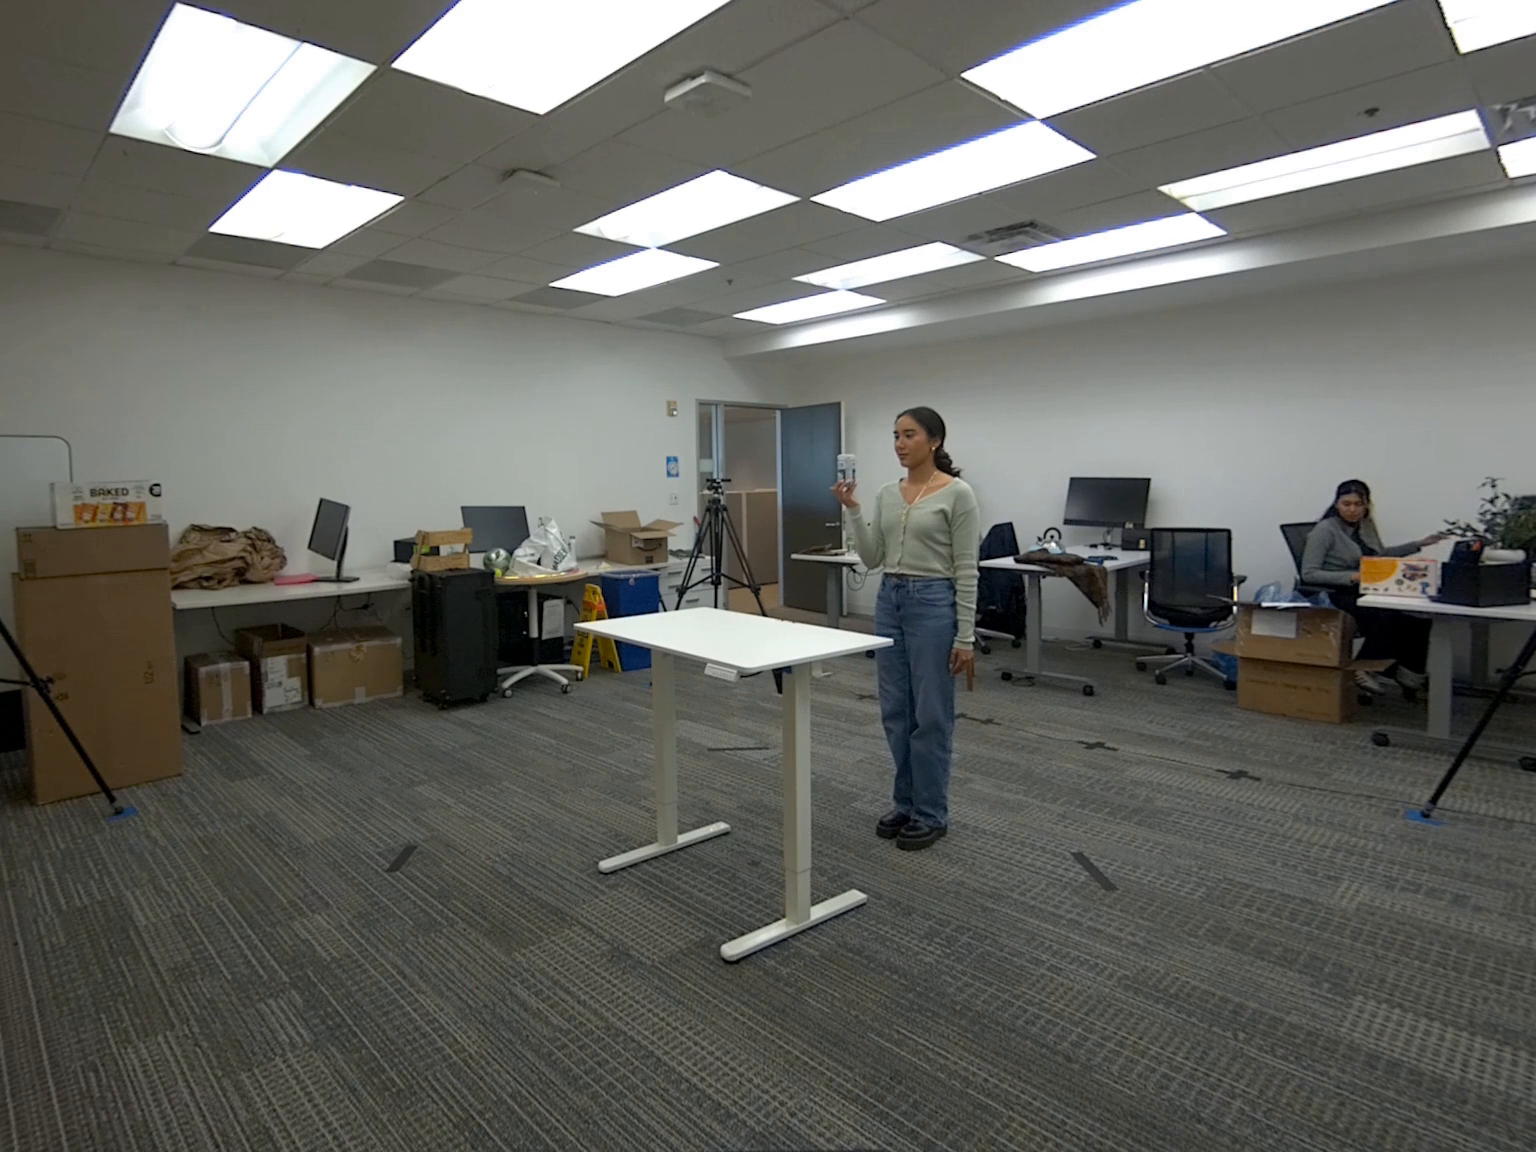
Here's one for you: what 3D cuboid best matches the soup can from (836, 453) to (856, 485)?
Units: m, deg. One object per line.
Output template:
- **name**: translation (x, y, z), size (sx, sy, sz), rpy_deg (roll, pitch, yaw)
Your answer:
- **soup can**: translation (0.296, -0.397, 3.193), size (0.067, 0.121, 0.067), rpy_deg (-1, 7, -2)
